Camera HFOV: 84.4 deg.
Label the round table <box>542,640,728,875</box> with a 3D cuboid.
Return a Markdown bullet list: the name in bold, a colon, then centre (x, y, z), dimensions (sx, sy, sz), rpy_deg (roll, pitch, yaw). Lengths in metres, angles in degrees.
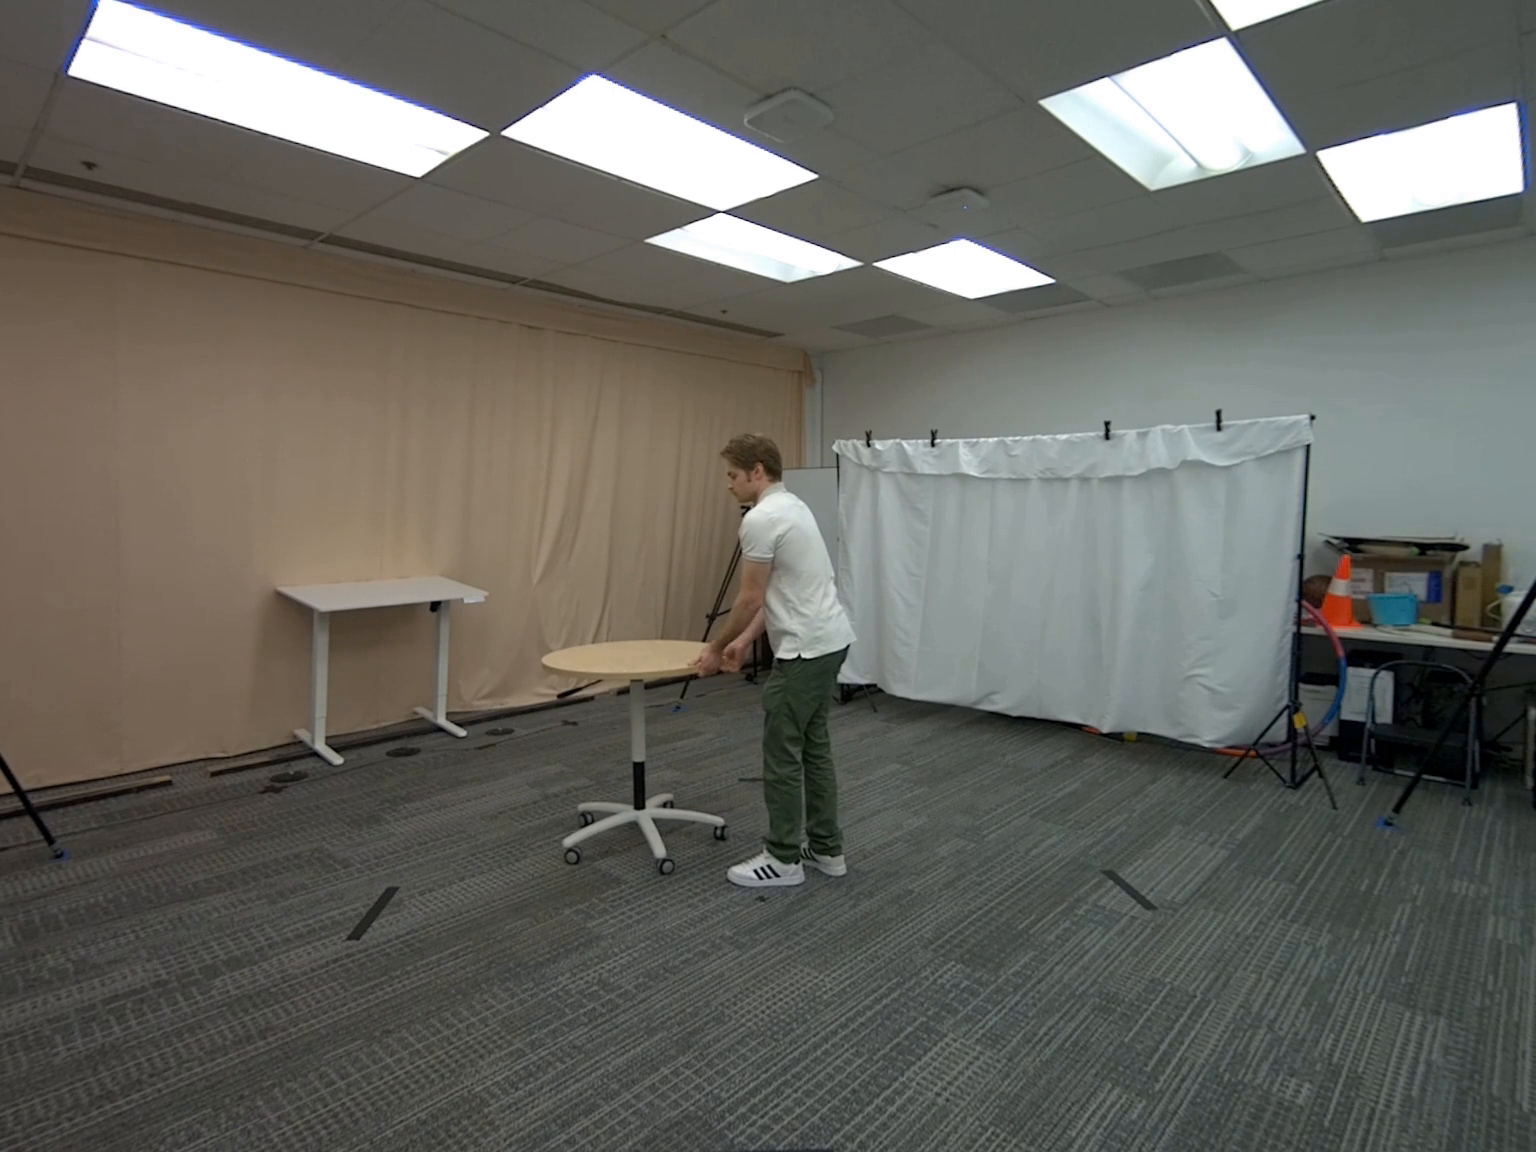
- **round table**: centre (-0.538, 0.718, 3.483), dimensions (0.763, 0.792, 0.766), rpy_deg (-1, 3, -2)
